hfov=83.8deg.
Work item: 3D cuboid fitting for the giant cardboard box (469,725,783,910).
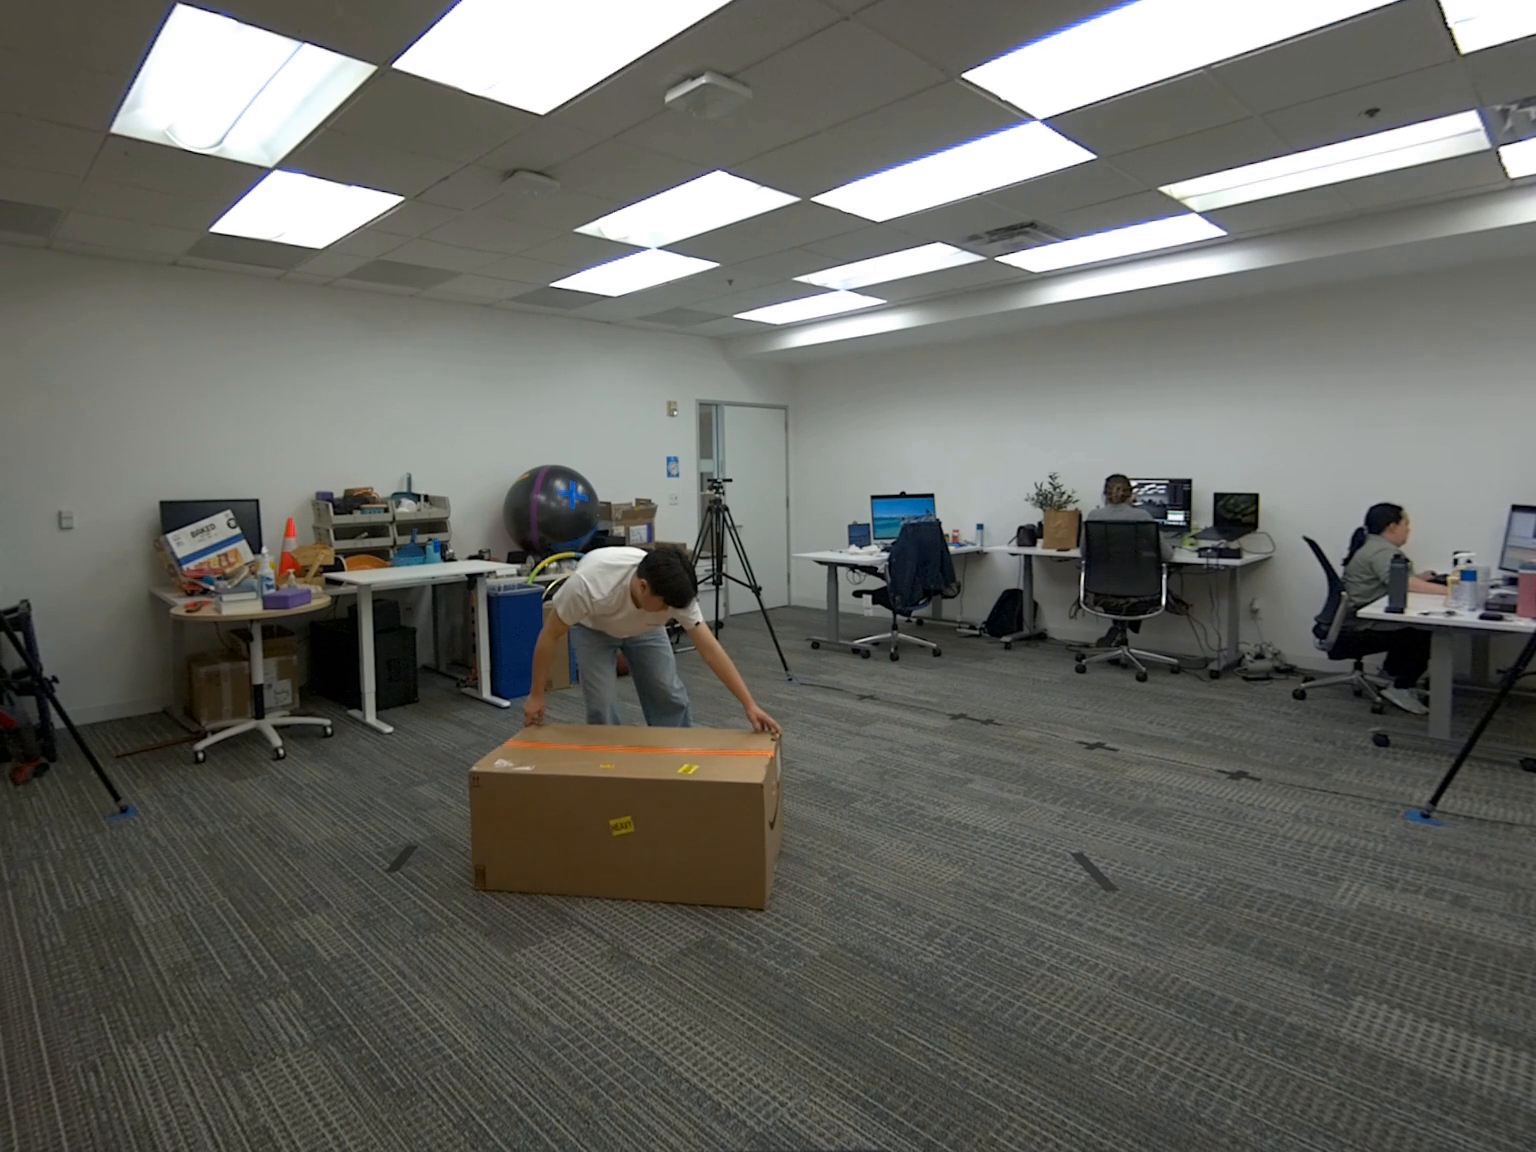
[{"bbox_3d":[-0.482,0.836,3.120,1.036,0.424,0.575,0,6,9],"label":"giant cardboard box"}]
